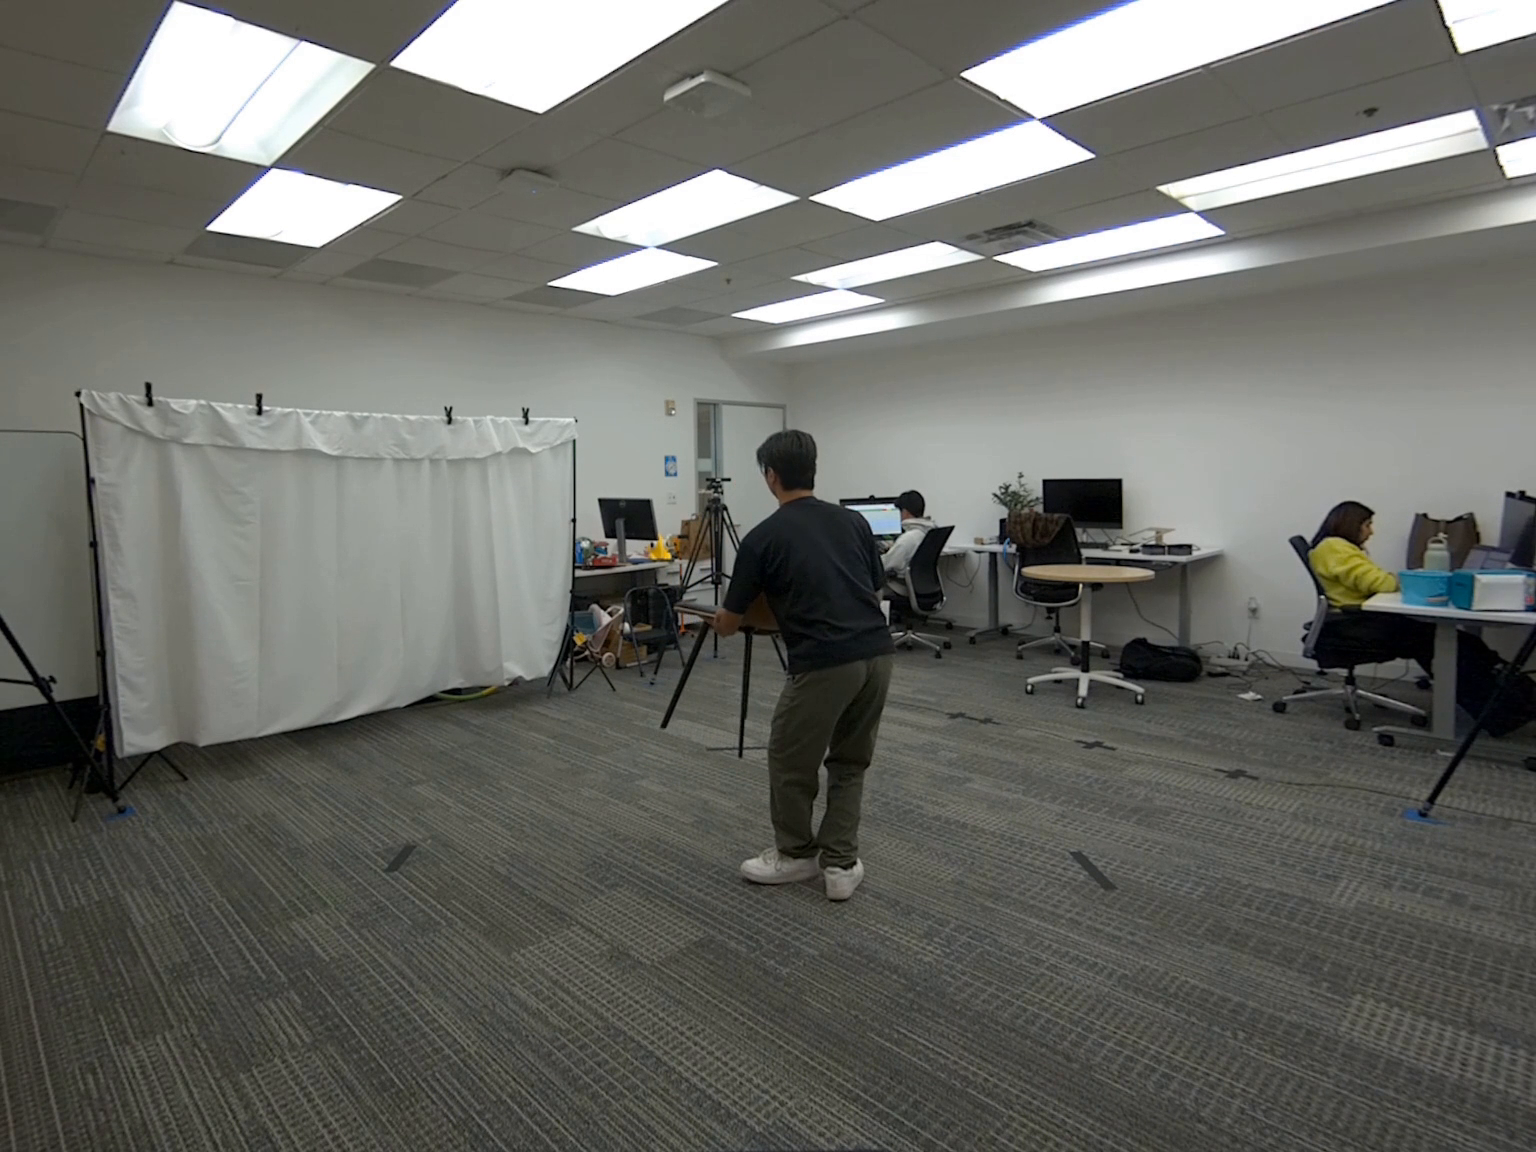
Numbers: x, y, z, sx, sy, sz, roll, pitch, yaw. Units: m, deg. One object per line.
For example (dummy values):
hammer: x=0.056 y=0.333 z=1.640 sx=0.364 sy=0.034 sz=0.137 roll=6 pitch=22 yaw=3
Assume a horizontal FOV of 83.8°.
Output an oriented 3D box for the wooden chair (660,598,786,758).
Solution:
wooden chair: x=-0.069 y=0.195 z=3.282 sx=0.464 sy=0.874 sz=0.541 roll=2 pitch=6 yaw=-45
